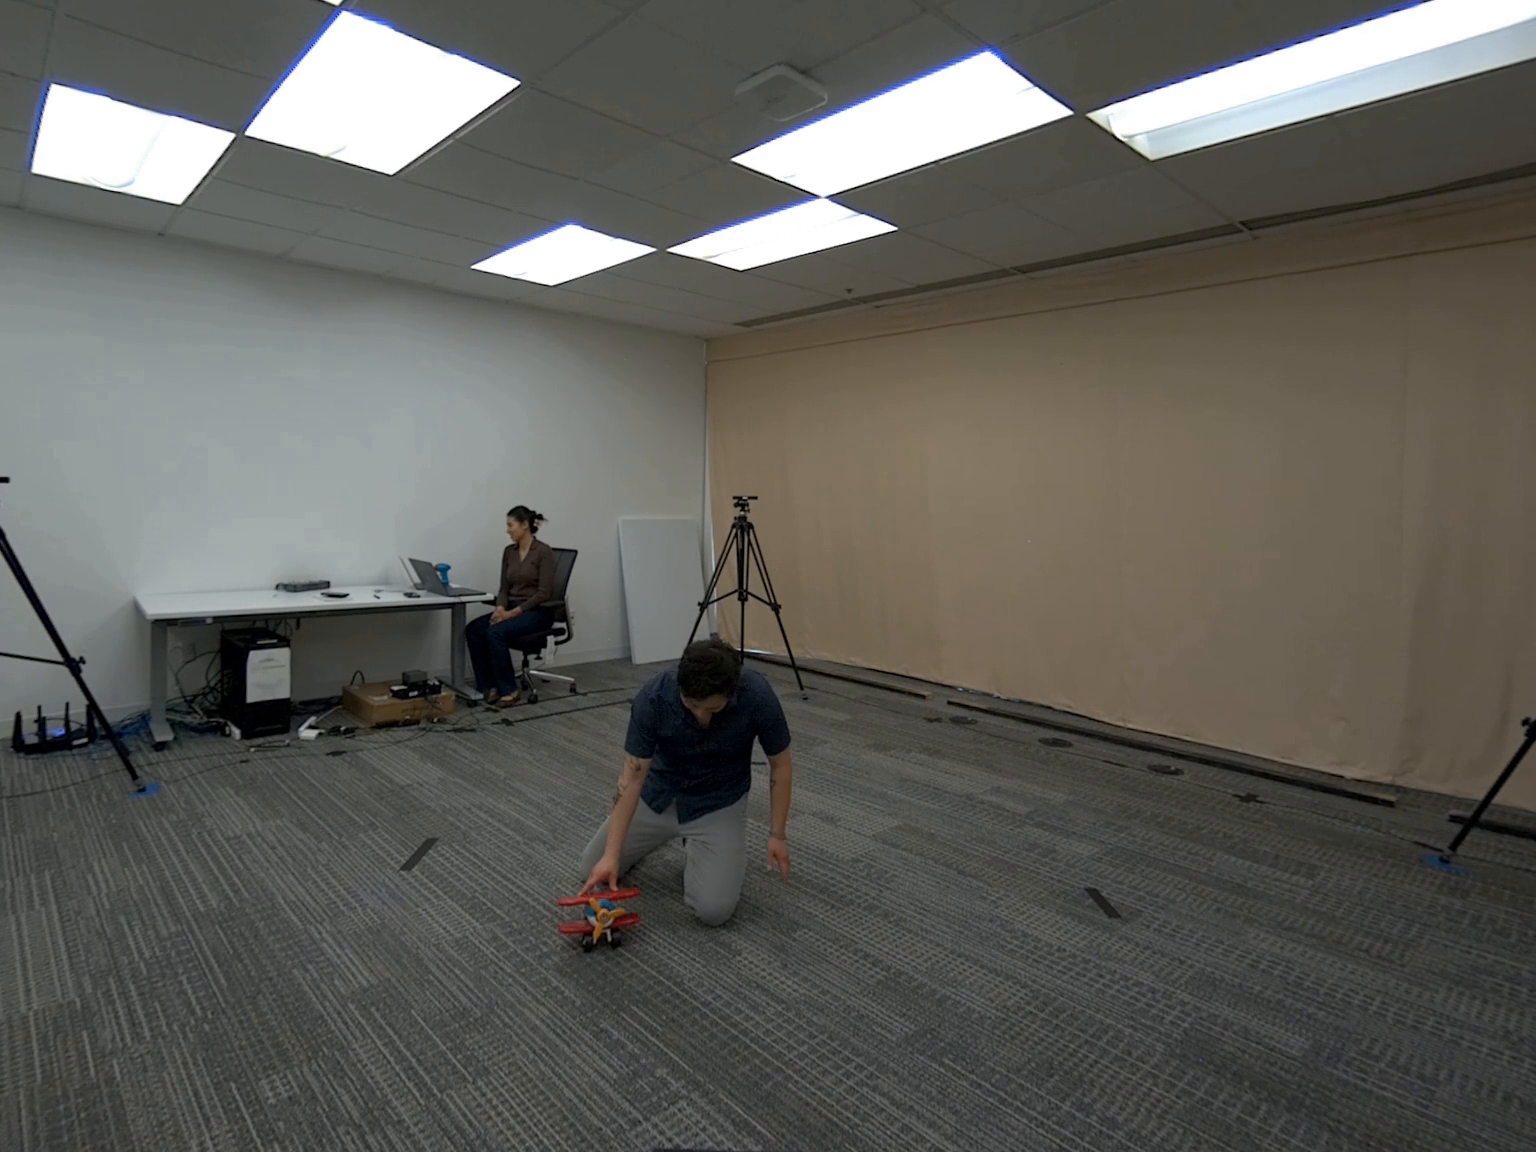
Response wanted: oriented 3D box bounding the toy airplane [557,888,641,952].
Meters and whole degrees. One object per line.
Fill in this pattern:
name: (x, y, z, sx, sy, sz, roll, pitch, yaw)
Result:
toy airplane: (-0.563, 1.063, 2.647, 0.266, 0.156, 0.246, 7, 9, 43)
